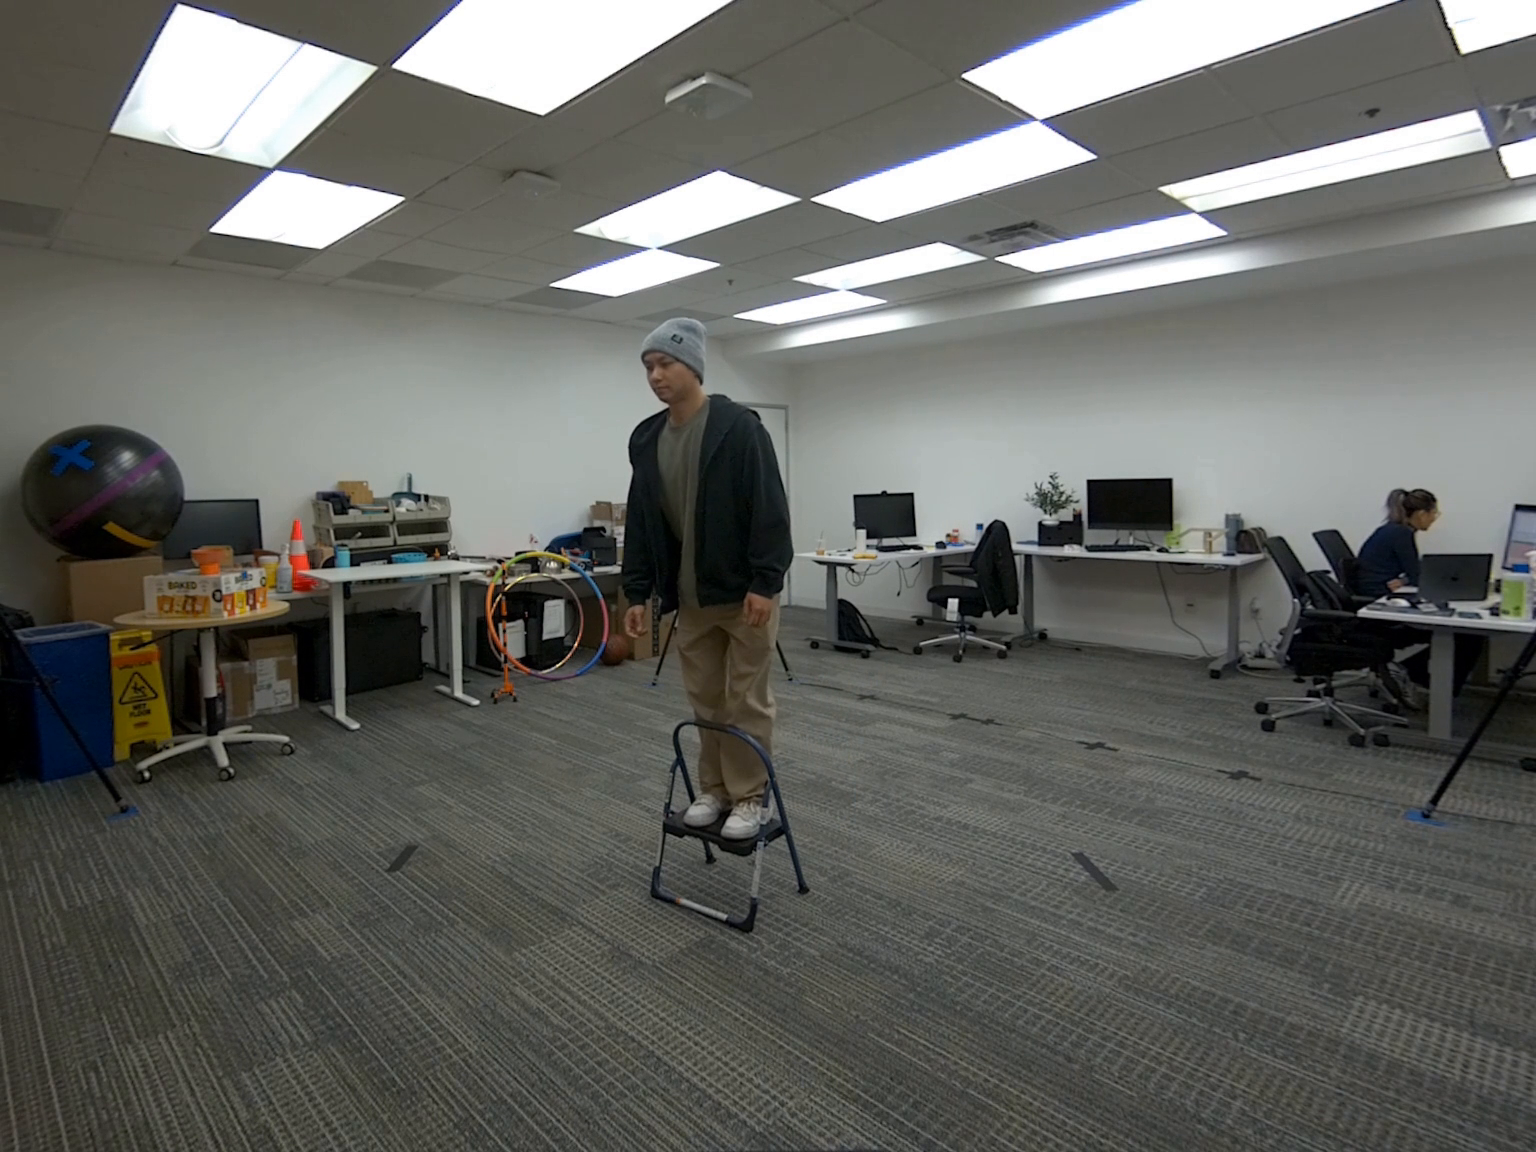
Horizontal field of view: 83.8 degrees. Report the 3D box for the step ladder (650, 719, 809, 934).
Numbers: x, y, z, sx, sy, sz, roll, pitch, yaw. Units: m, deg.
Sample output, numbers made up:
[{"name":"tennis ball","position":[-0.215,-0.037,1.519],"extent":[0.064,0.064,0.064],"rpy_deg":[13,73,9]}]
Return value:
[{"name":"step ladder","position":[-0.138,0.771,2.865],"extent":[0.443,0.604,0.341],"rpy_deg":[2,6,35]}]
